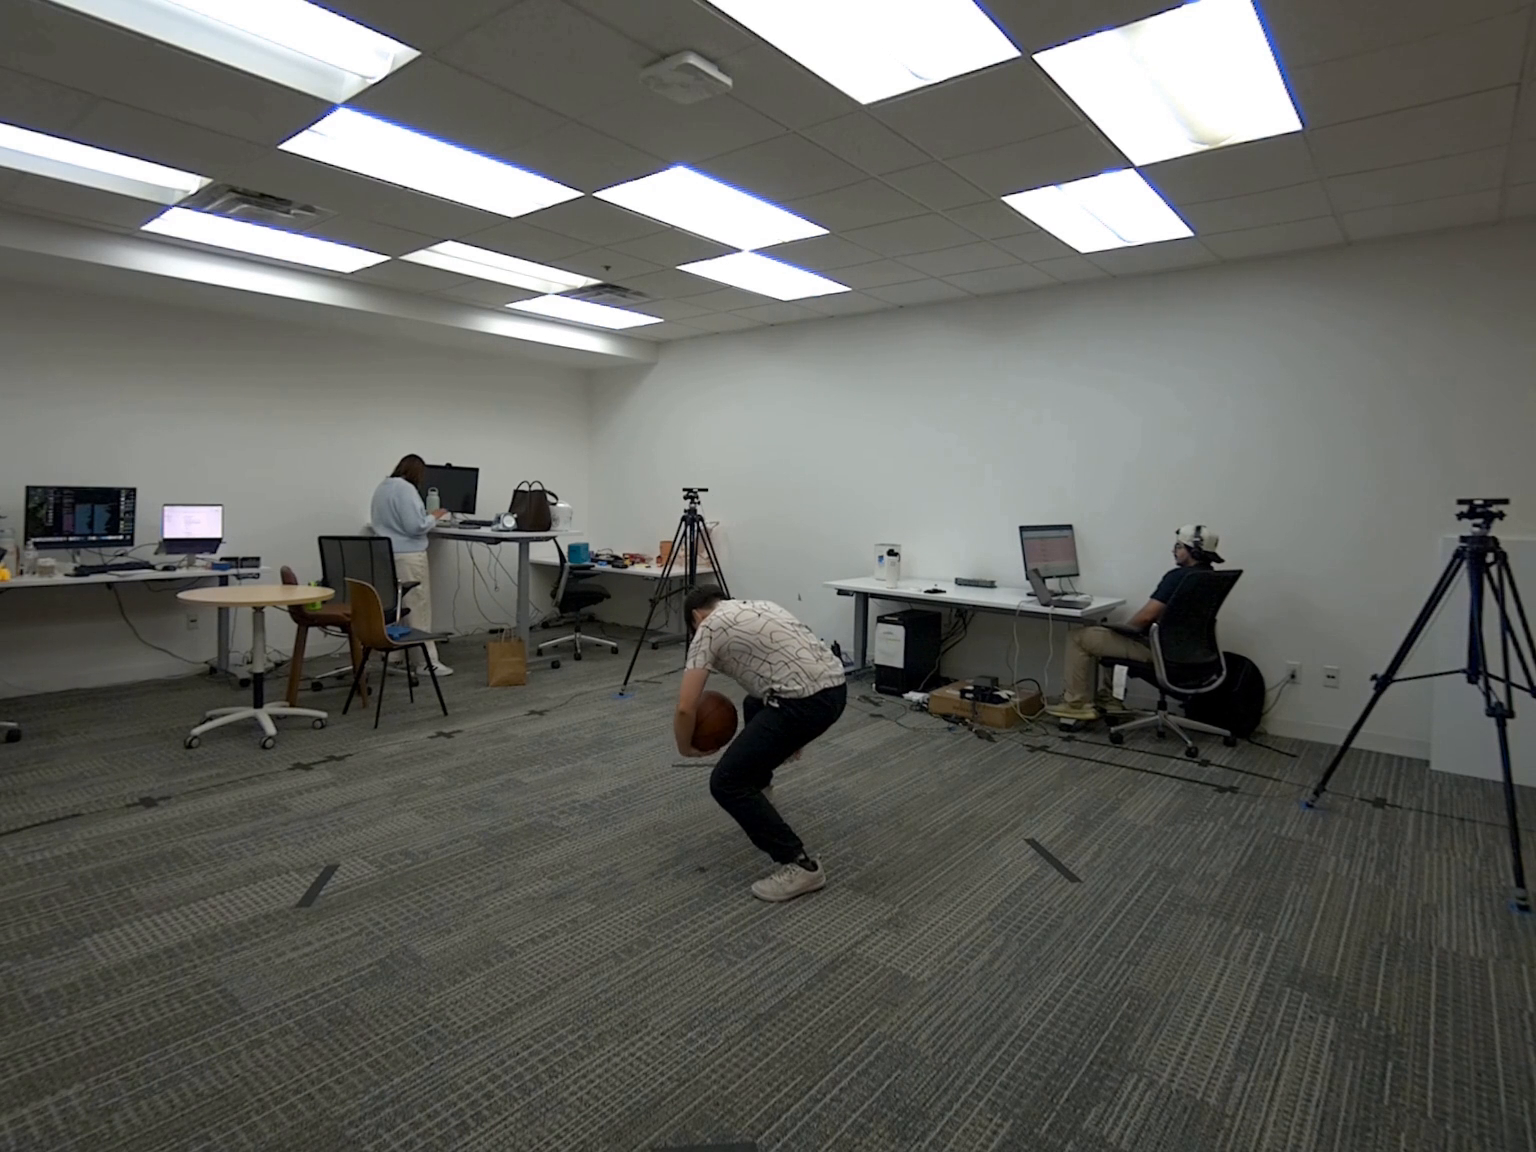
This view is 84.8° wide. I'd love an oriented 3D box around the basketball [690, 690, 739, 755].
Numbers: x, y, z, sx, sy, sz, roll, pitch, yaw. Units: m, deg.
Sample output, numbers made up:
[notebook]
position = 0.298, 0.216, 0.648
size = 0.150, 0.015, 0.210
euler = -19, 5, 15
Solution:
[basketball]
position = -0.252, 0.580, 3.483
size = 0.235, 0.235, 0.237
euler = 1, 4, -2
